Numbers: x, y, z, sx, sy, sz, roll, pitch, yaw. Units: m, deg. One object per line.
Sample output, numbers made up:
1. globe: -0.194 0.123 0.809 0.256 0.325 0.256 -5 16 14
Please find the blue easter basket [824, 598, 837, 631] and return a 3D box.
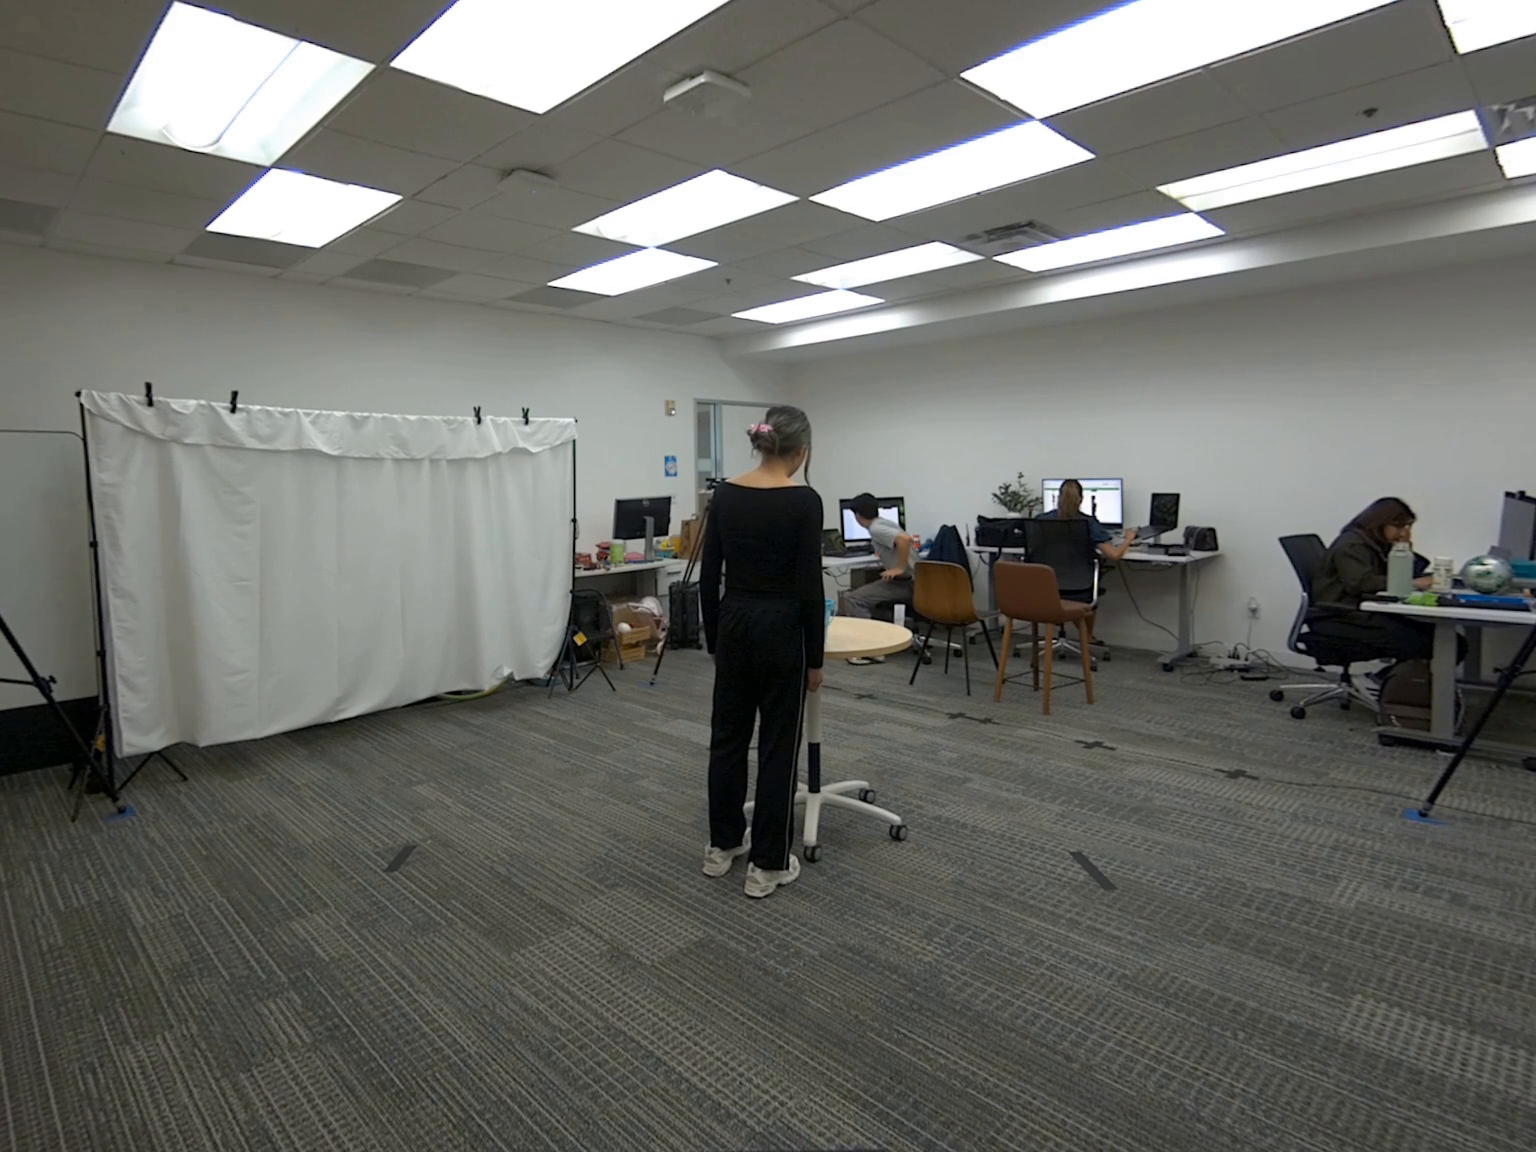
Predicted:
1. blue easter basket: 0.139 0.170 3.172 0.243 0.155 0.245 -1 5 -2
